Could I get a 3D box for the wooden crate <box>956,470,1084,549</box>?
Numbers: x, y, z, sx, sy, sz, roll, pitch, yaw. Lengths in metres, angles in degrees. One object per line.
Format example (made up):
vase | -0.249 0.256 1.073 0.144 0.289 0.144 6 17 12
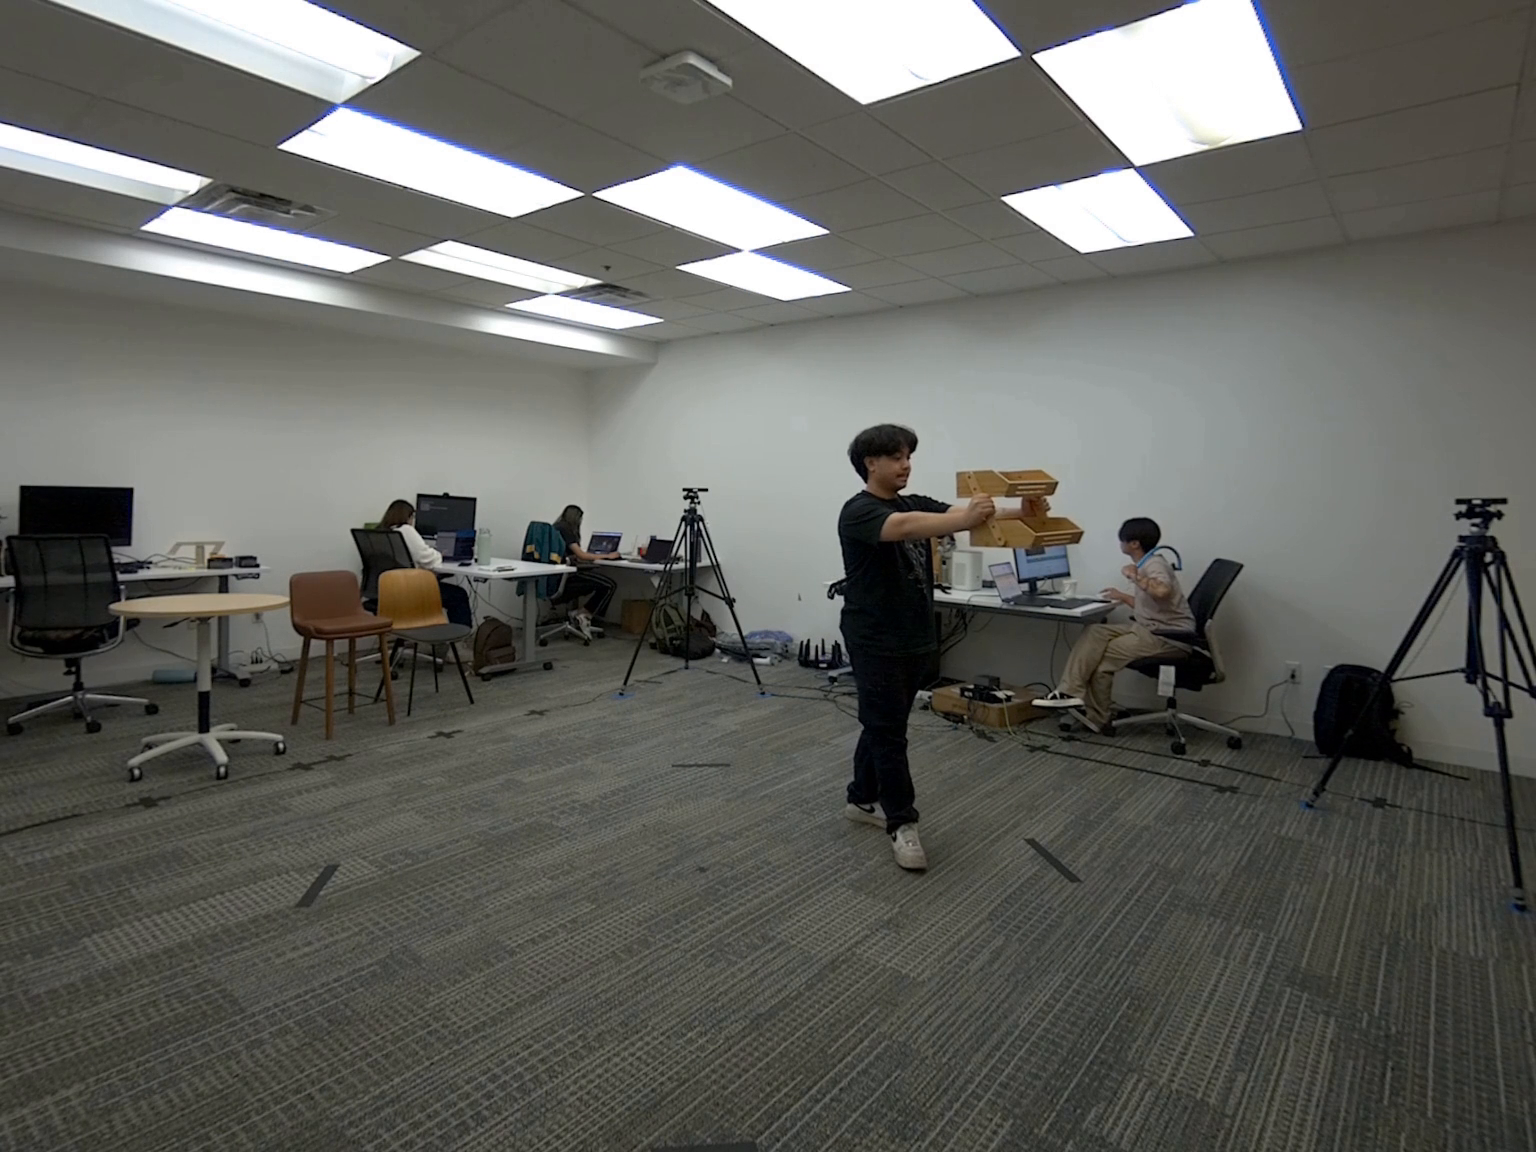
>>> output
wooden crate | 0.867 -0.245 2.938 0.315 0.272 0.312 -5 5 -39
